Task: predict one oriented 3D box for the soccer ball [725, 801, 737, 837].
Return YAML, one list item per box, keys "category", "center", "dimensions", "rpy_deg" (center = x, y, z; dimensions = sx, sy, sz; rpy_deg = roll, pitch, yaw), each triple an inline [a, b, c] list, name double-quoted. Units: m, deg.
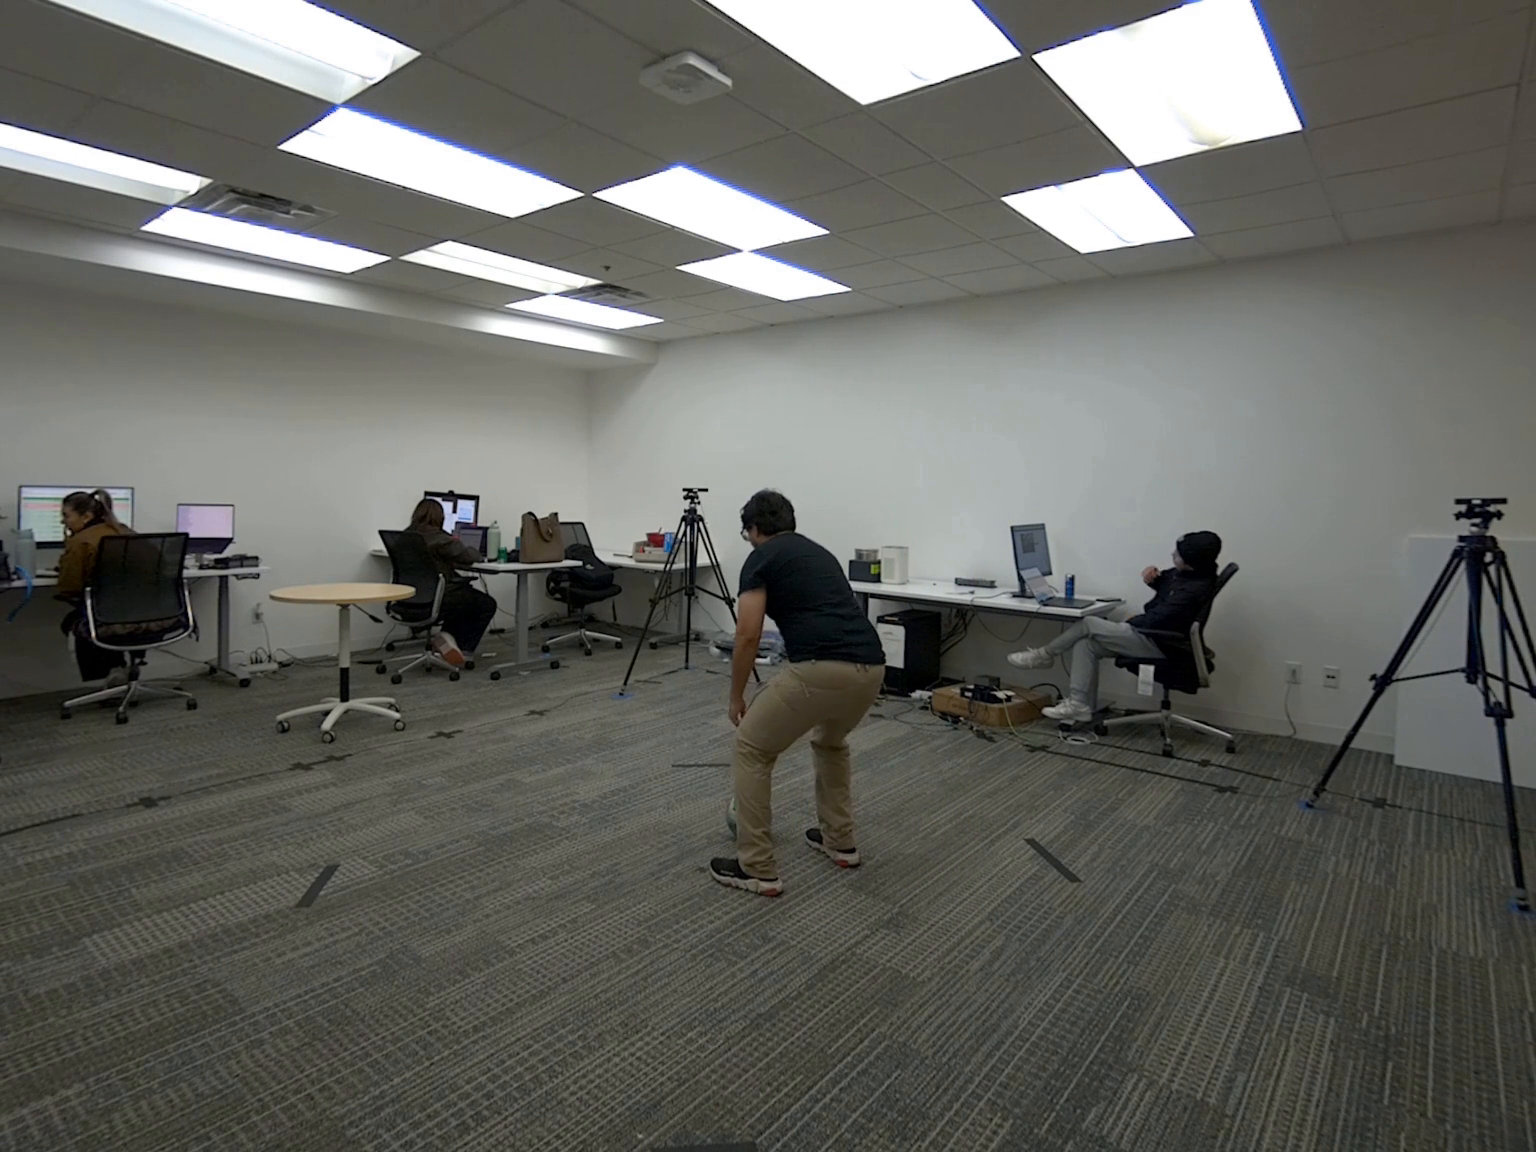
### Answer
- category: "soccer ball"
  center: [-0.085, 0.942, 3.395]
  dimensions: [0.187, 0.187, 0.188]
  rpy_deg: [1, 4, -2]
